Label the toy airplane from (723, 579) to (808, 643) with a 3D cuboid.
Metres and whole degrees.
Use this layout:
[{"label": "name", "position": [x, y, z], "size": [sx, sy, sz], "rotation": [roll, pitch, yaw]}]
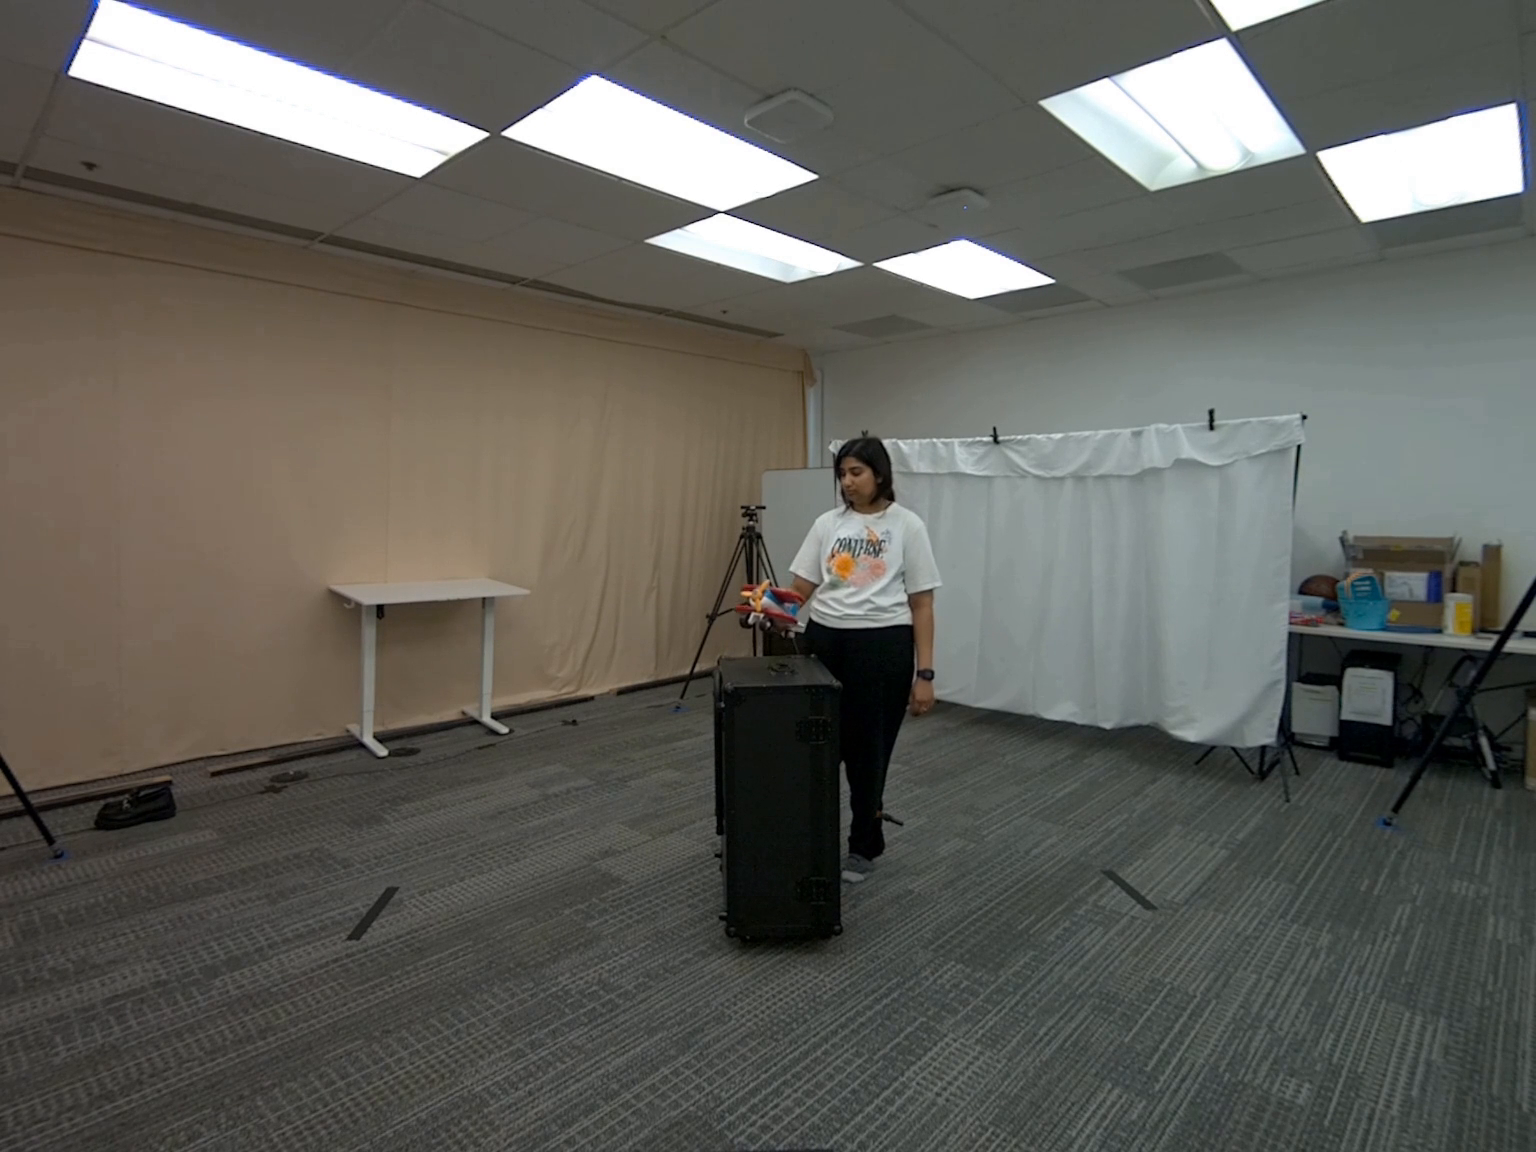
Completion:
[{"label": "toy airplane", "position": [0.006, 0.124, 2.932], "size": [0.255, 0.157, 0.254], "rotation": [10, -6, 12]}]
